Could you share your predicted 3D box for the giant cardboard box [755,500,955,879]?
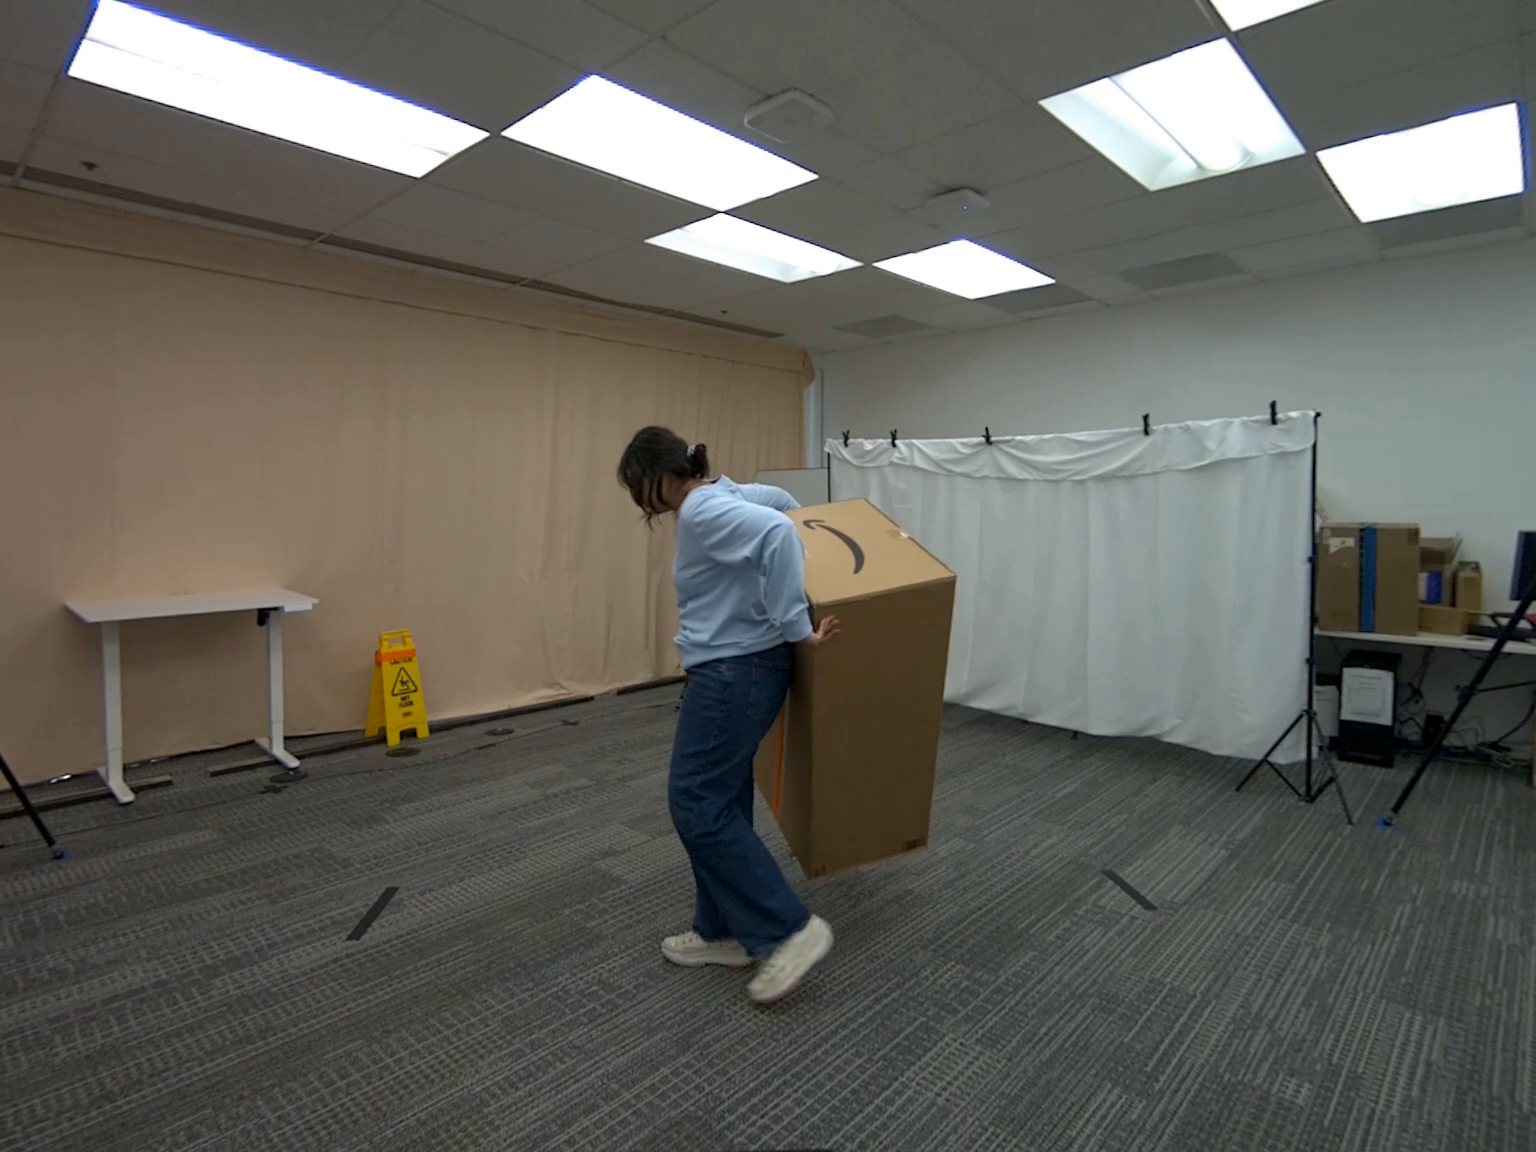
[{"bbox_3d":[0.230,0.354,2.707,0.420,1.009,0.595,-10,29,-17],"label":"giant cardboard box"}]
